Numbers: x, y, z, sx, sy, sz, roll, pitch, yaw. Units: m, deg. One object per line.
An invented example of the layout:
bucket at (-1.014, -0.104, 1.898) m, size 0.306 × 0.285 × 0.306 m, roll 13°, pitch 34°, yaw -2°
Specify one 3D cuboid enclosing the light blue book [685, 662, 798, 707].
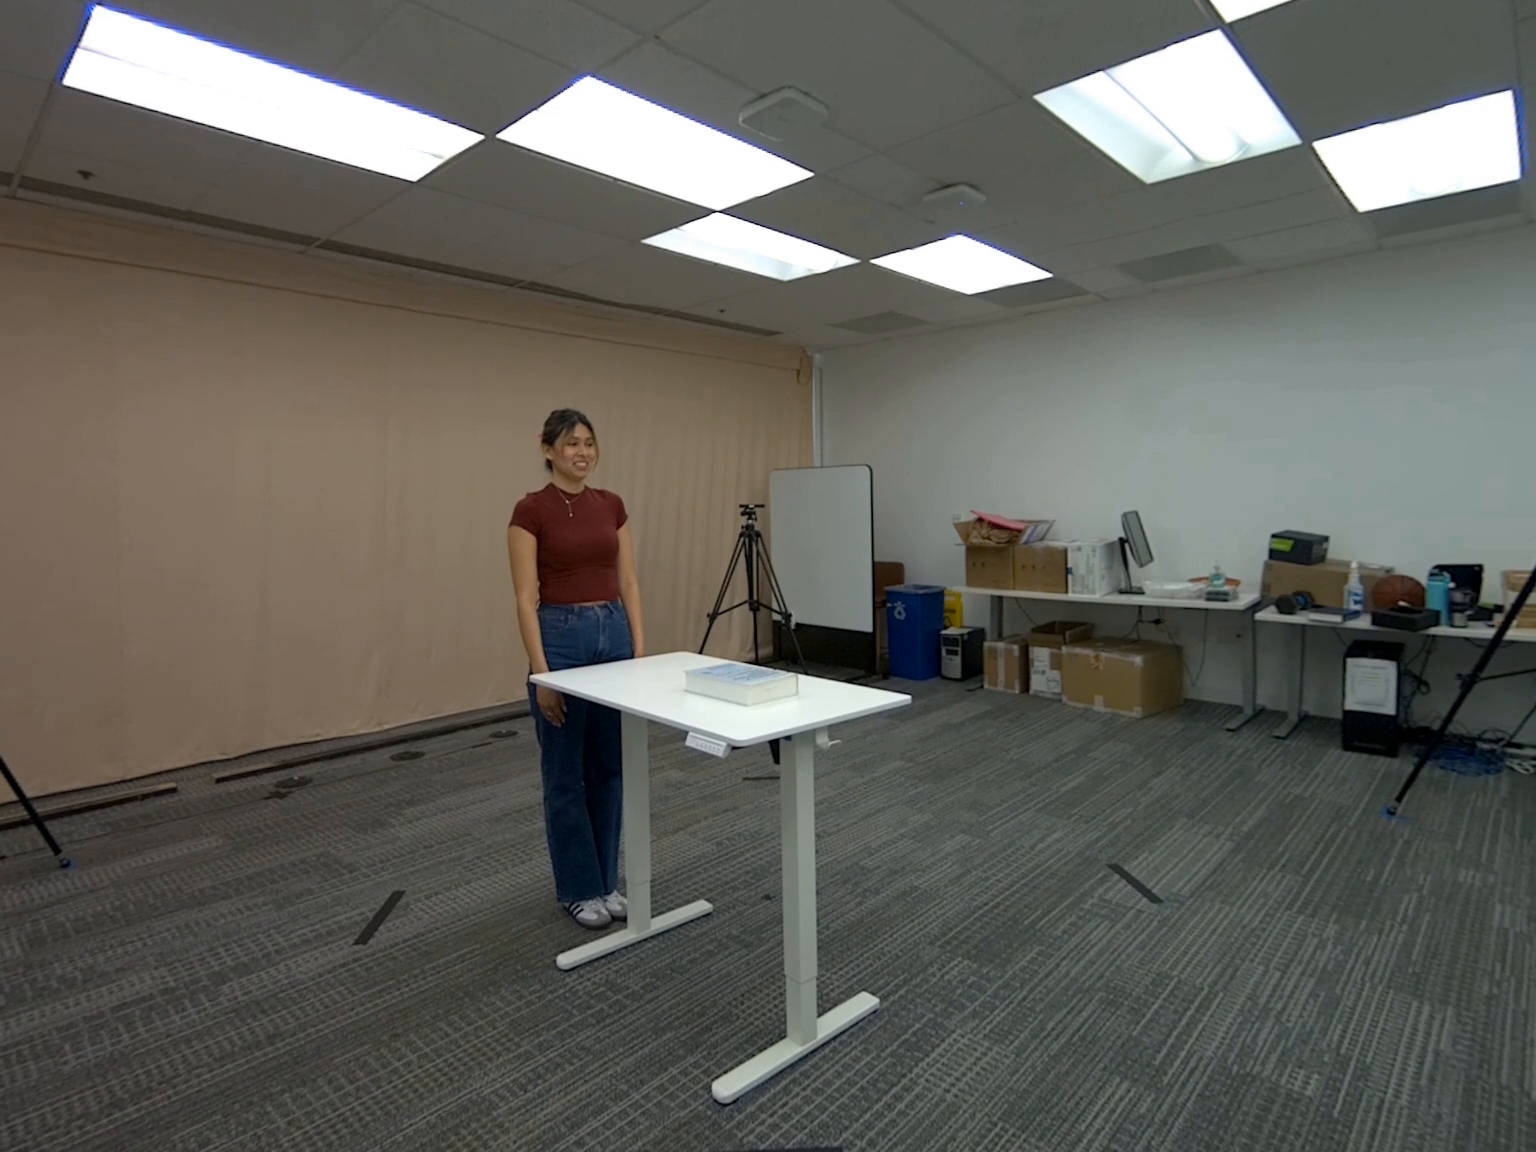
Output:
light blue book at (-0.076, 0.293, 2.276) m, size 0.185 × 0.059 × 0.270 m, roll -5°, pitch 6°, yaw -43°
